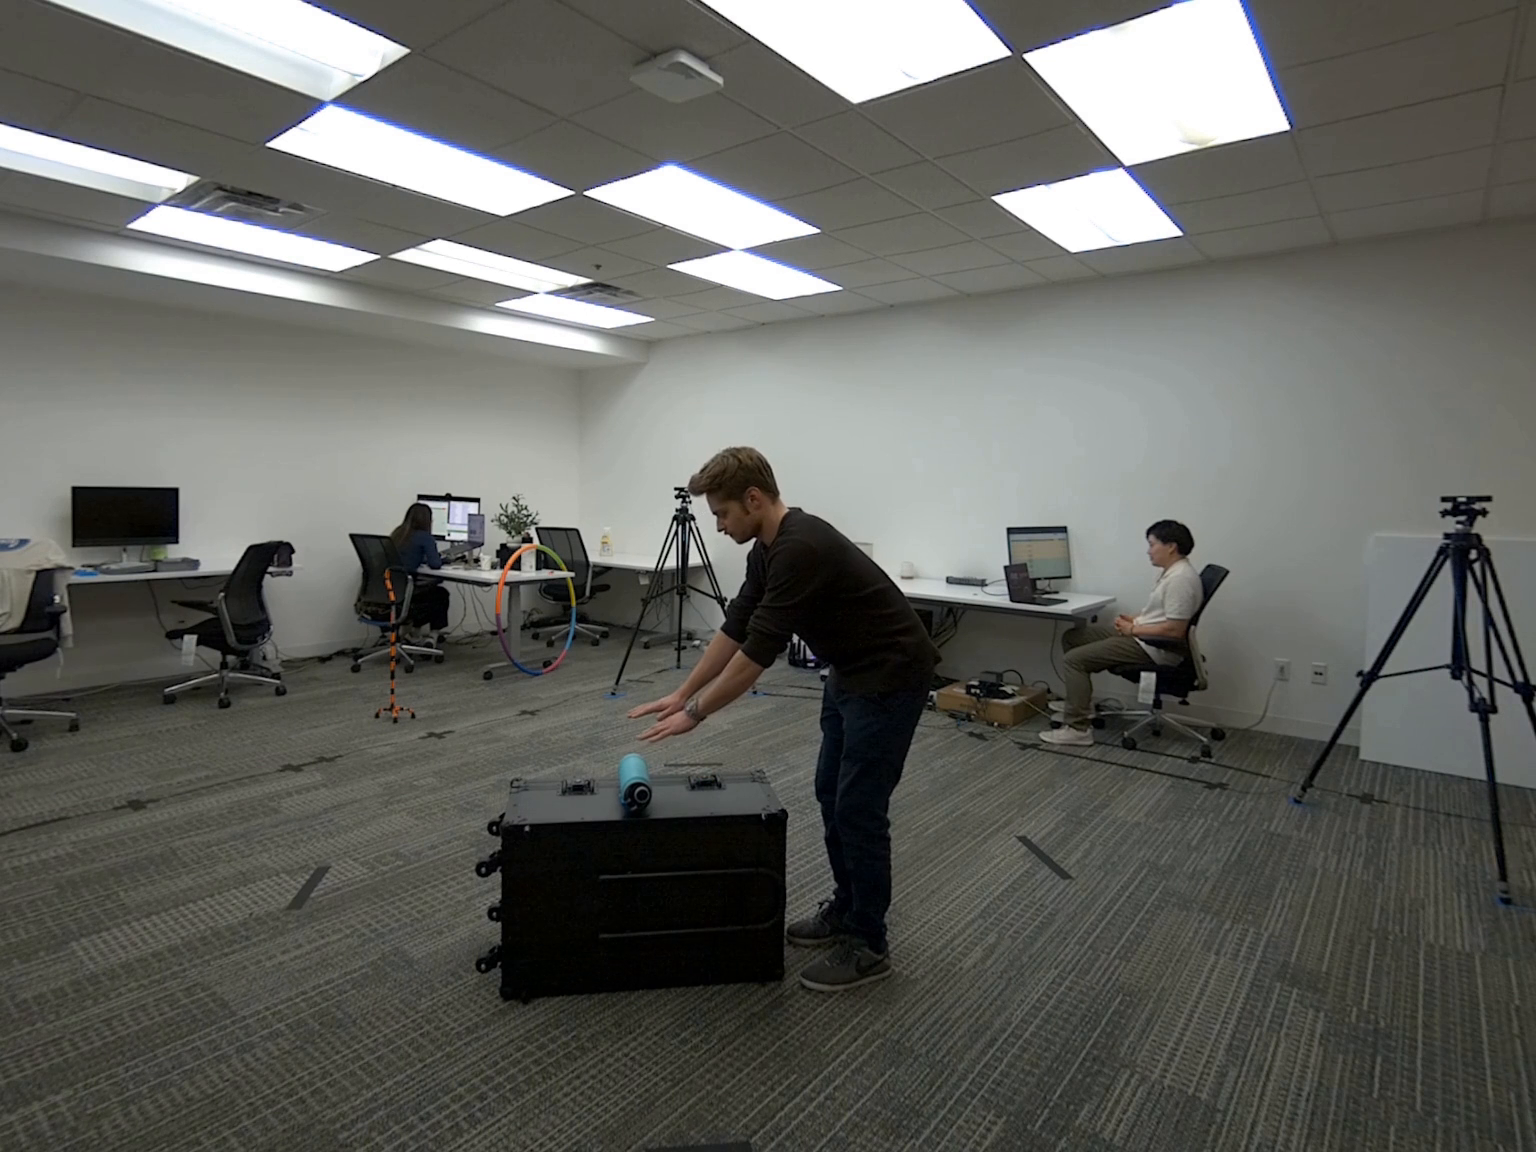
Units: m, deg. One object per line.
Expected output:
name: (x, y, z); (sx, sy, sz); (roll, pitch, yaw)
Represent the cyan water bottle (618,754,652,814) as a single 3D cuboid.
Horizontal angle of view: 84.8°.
cyan water bottle: (-0.392, 0.601, 2.461); (0.091, 0.092, 0.287); (0, 5, -10)
